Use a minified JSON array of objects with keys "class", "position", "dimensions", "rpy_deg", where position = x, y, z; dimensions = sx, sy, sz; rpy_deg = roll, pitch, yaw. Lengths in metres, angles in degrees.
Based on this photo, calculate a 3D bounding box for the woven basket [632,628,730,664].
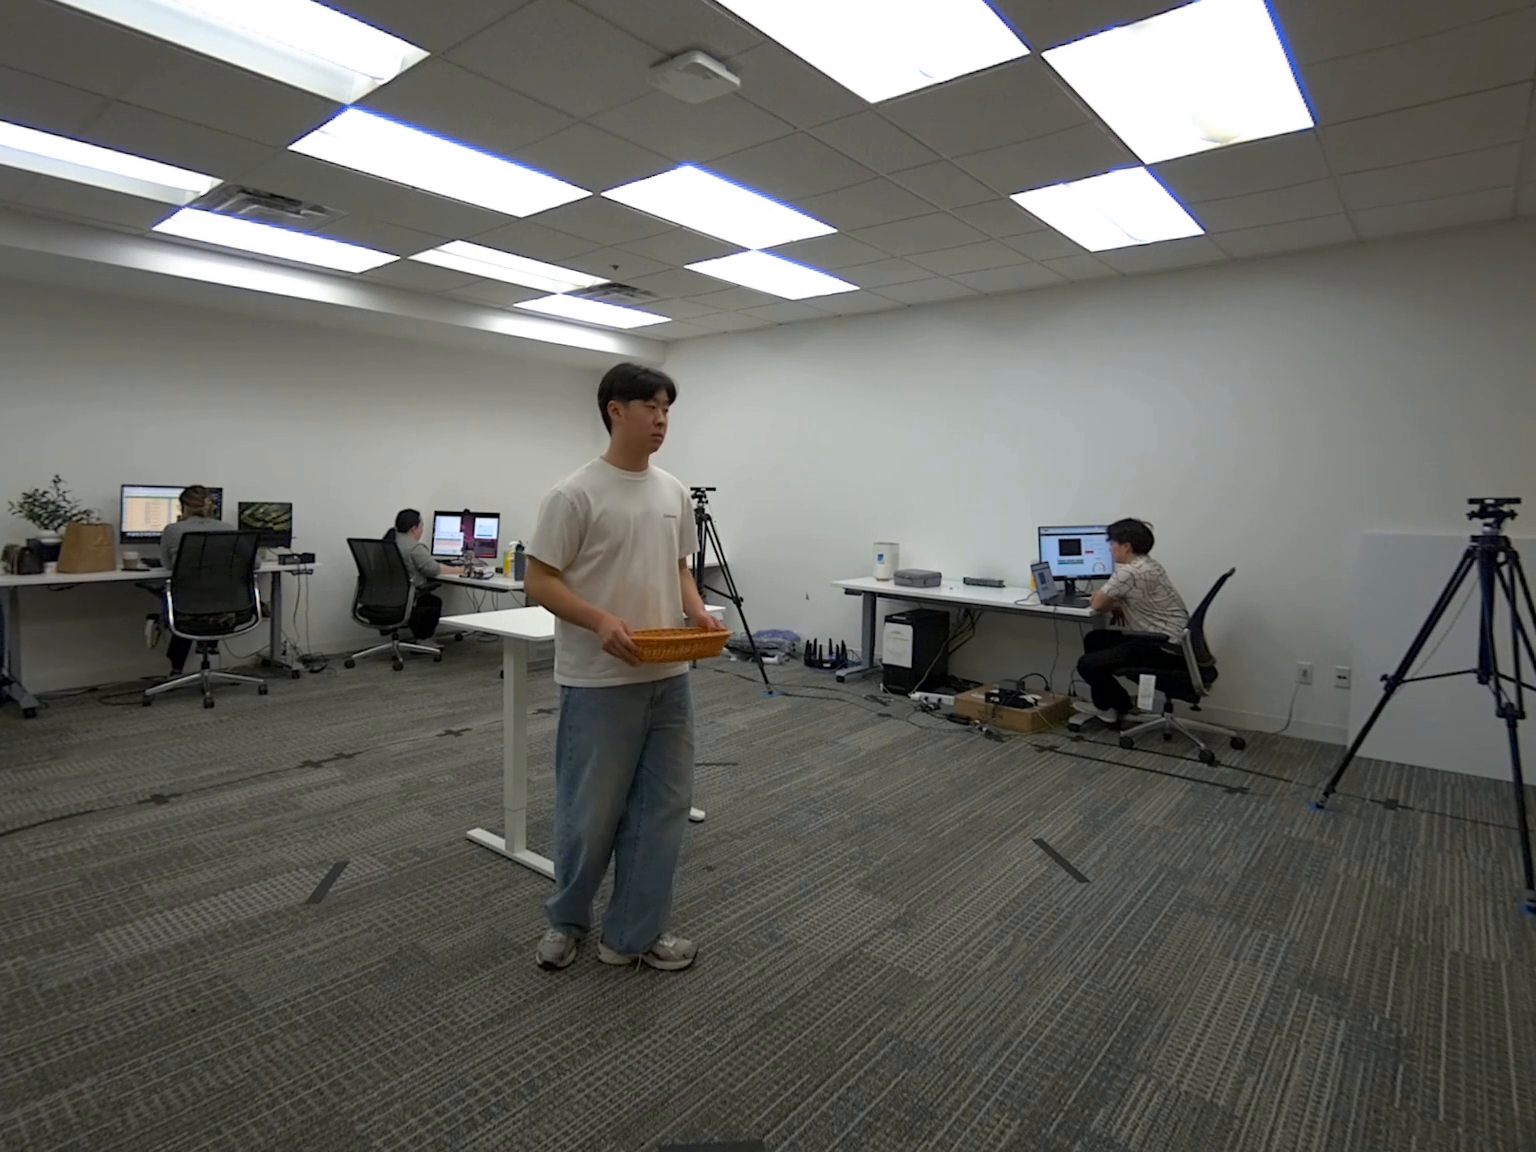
[{"class":"woven basket","position":[-0.272,0.185,2.312],"dimensions":[0.340,0.073,0.260],"rpy_deg":[-2,1,-38]}]
